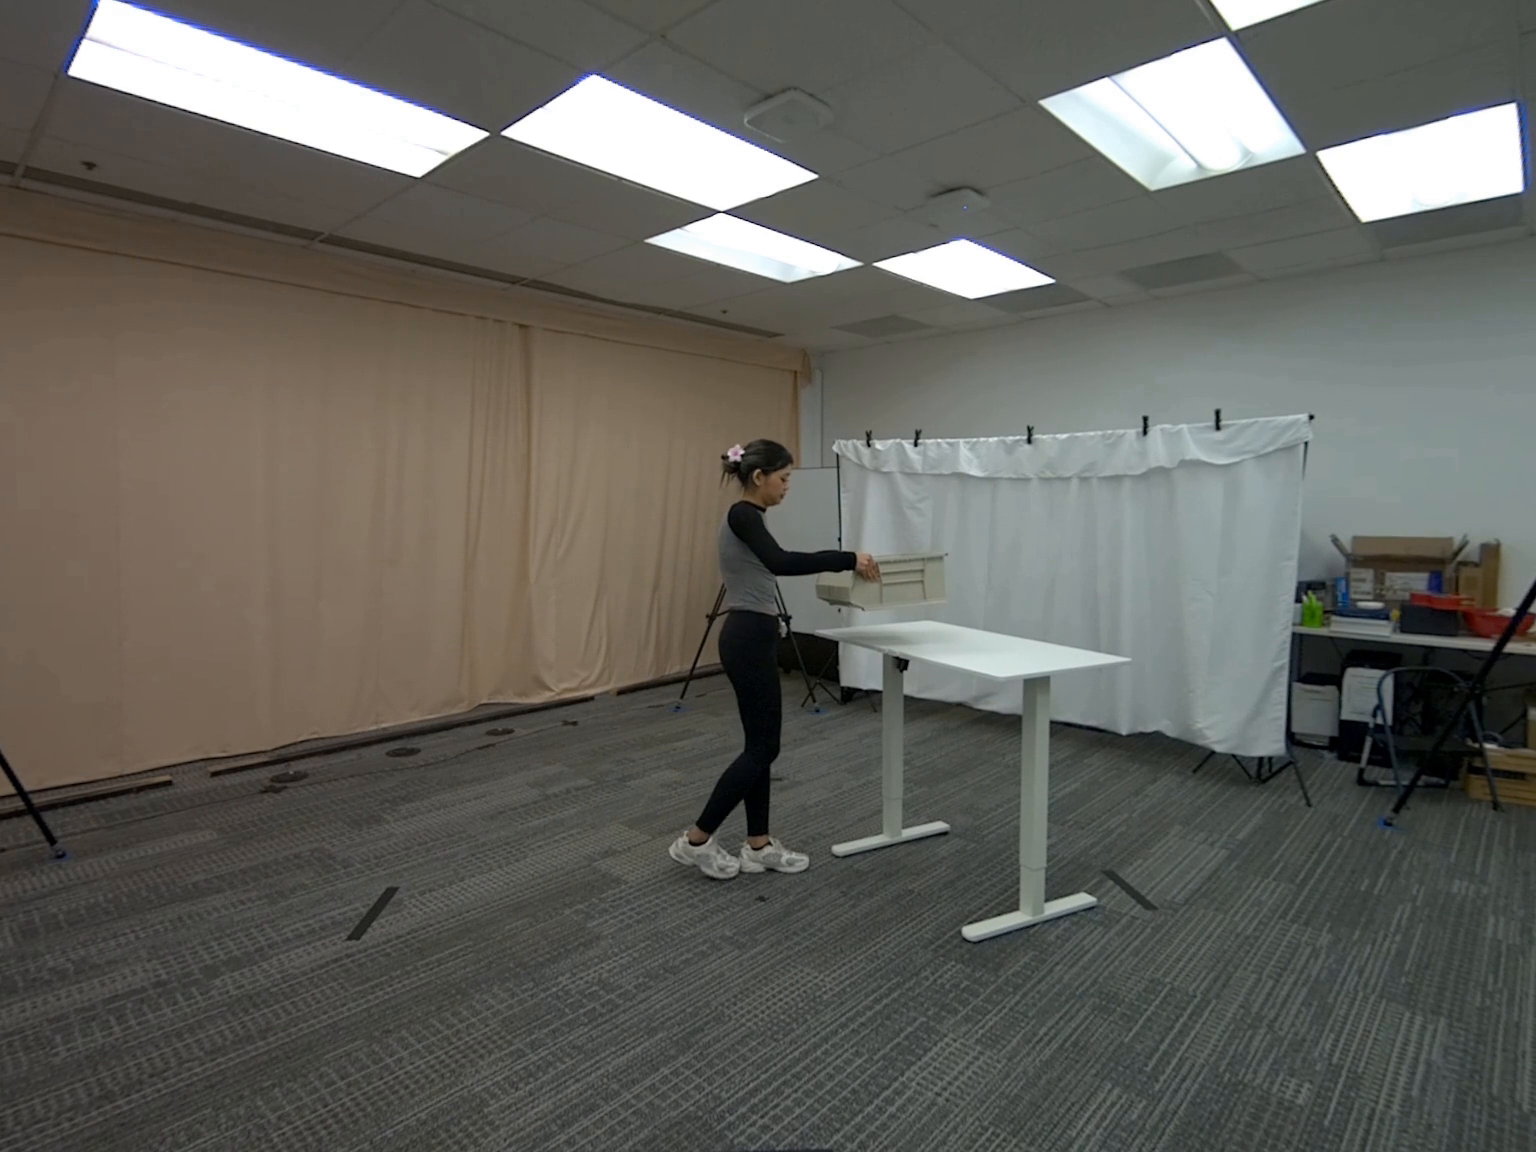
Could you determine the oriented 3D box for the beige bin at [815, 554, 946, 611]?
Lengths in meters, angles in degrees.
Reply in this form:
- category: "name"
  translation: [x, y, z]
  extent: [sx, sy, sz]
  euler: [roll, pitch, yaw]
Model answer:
- category: "beige bin"
  translation: [0.410, 0.011, 3.150]
  extent: [0.373, 0.189, 0.428]
  euler: [0, 1, -13]
